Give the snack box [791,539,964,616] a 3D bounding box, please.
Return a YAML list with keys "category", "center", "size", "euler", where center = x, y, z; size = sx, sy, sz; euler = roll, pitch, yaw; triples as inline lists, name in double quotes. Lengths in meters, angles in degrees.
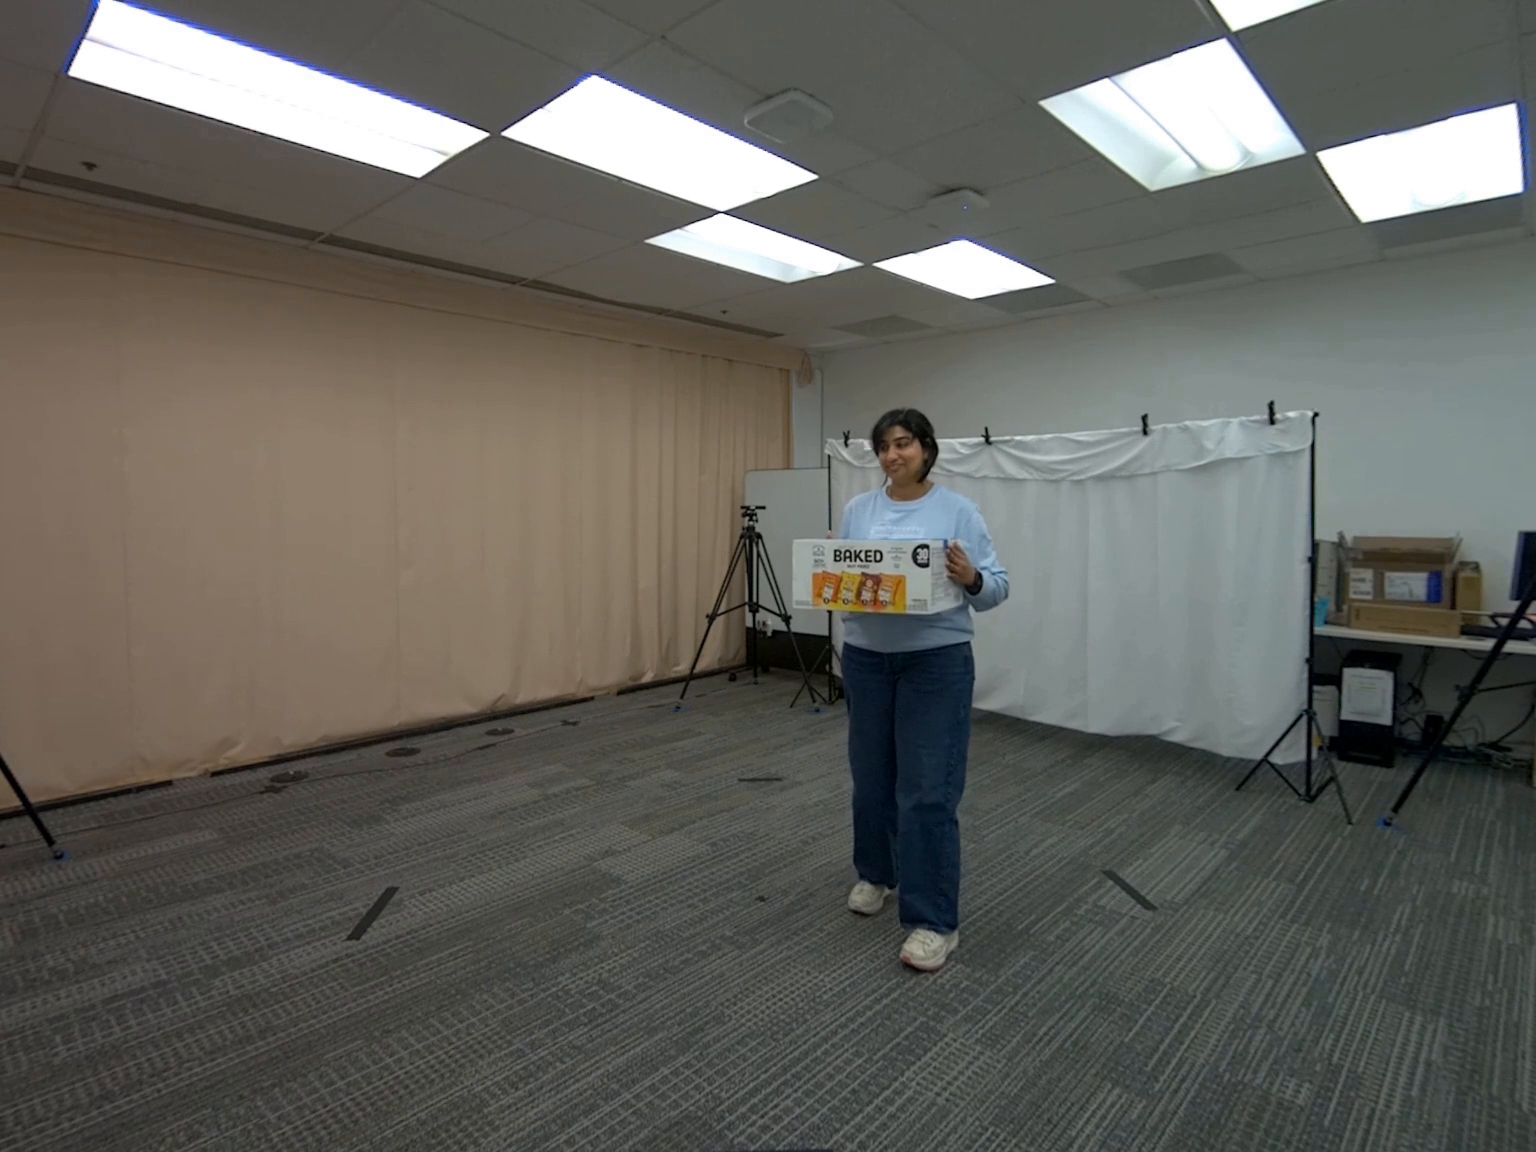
- category: "snack box"
  center: [0.333, -0.006, 2.496]
  size: [0.416, 0.205, 0.331]
  euler: [2, 3, 29]
